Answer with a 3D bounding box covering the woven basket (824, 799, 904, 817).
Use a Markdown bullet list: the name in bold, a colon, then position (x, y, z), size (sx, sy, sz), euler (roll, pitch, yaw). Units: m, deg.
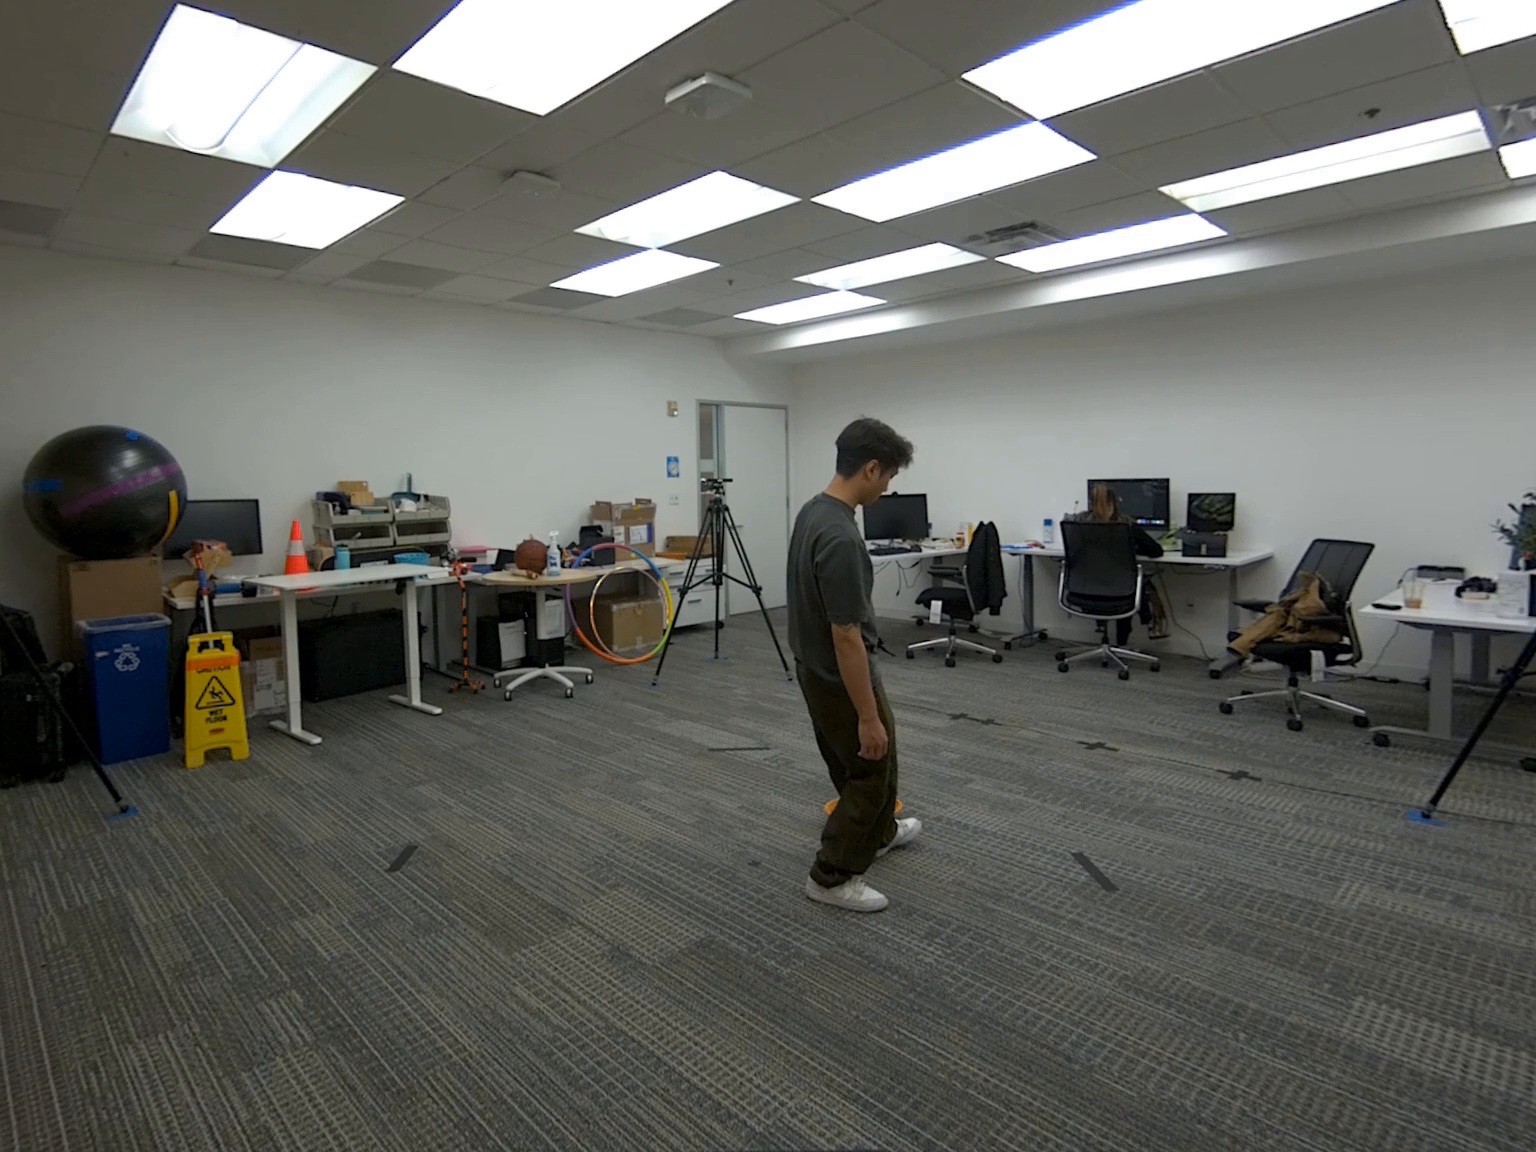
- **woven basket**: position (0.392, 0.961, 3.456), size (0.341, 0.073, 0.260), euler (-6, 8, -39)
